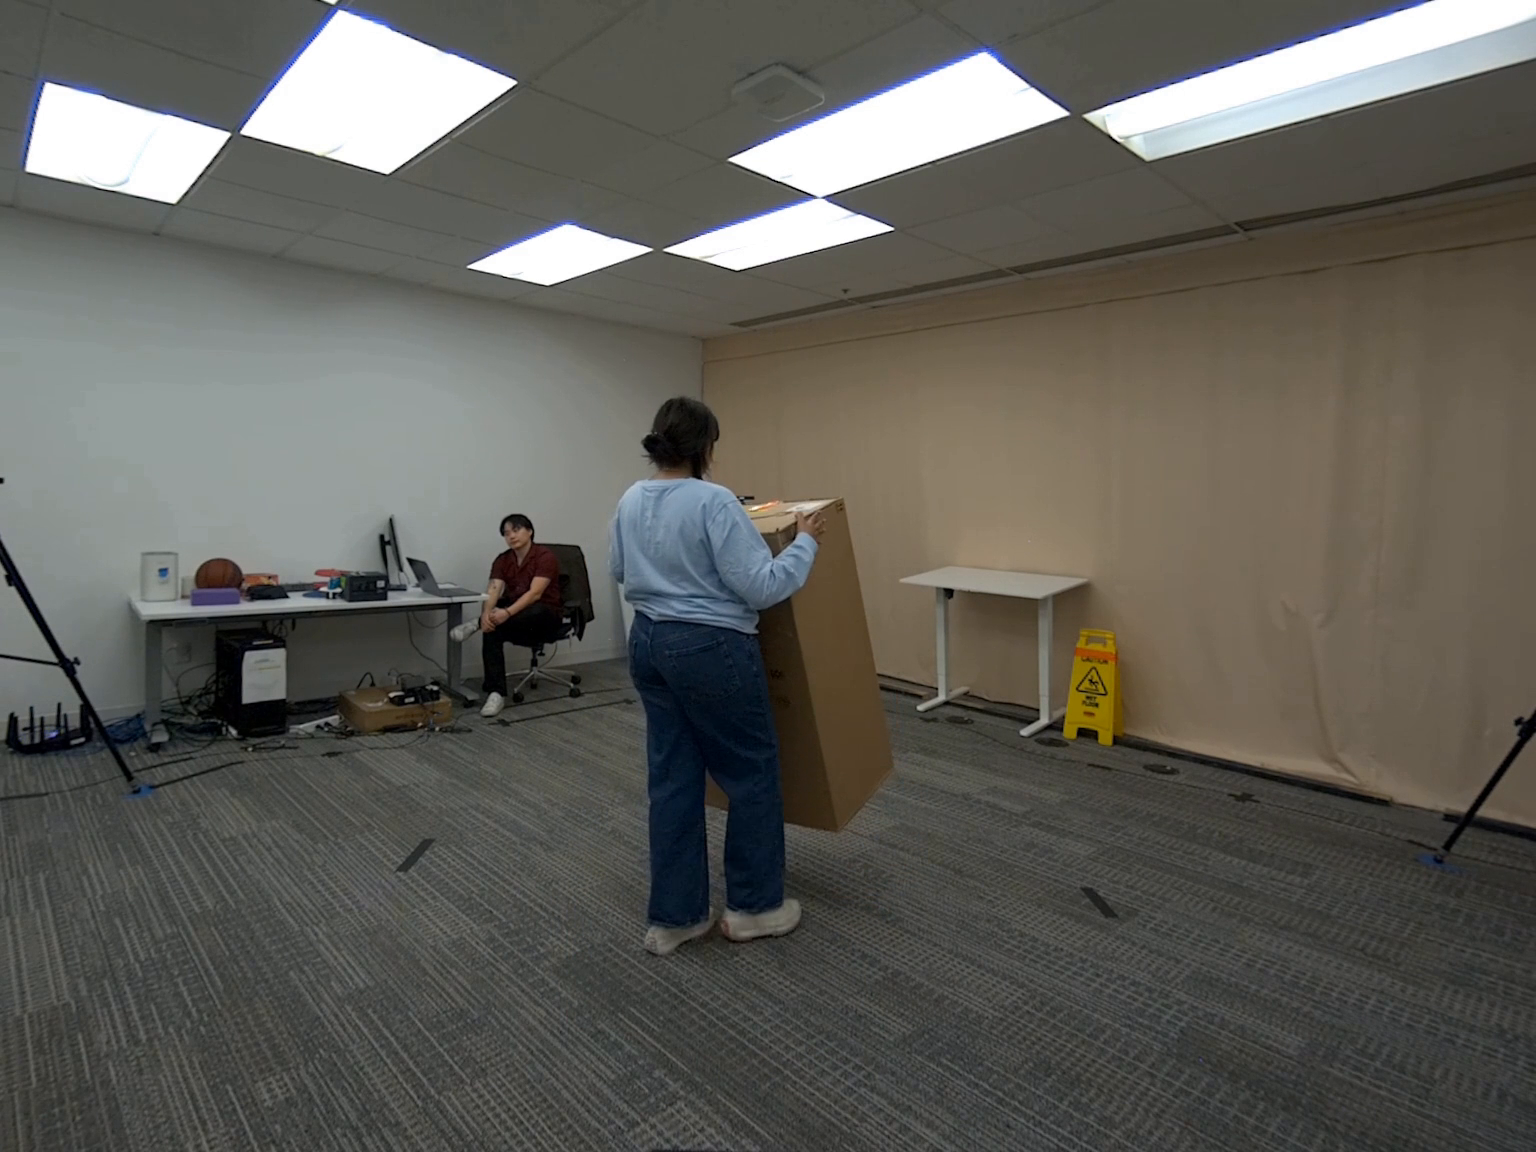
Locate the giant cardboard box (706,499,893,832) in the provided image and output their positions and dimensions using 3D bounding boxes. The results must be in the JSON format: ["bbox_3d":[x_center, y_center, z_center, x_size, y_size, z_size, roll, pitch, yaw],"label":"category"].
[{"bbox_3d":[0.016,0.291,2.956,0.590,1.015,0.421,-2,16,37],"label":"giant cardboard box"}]
